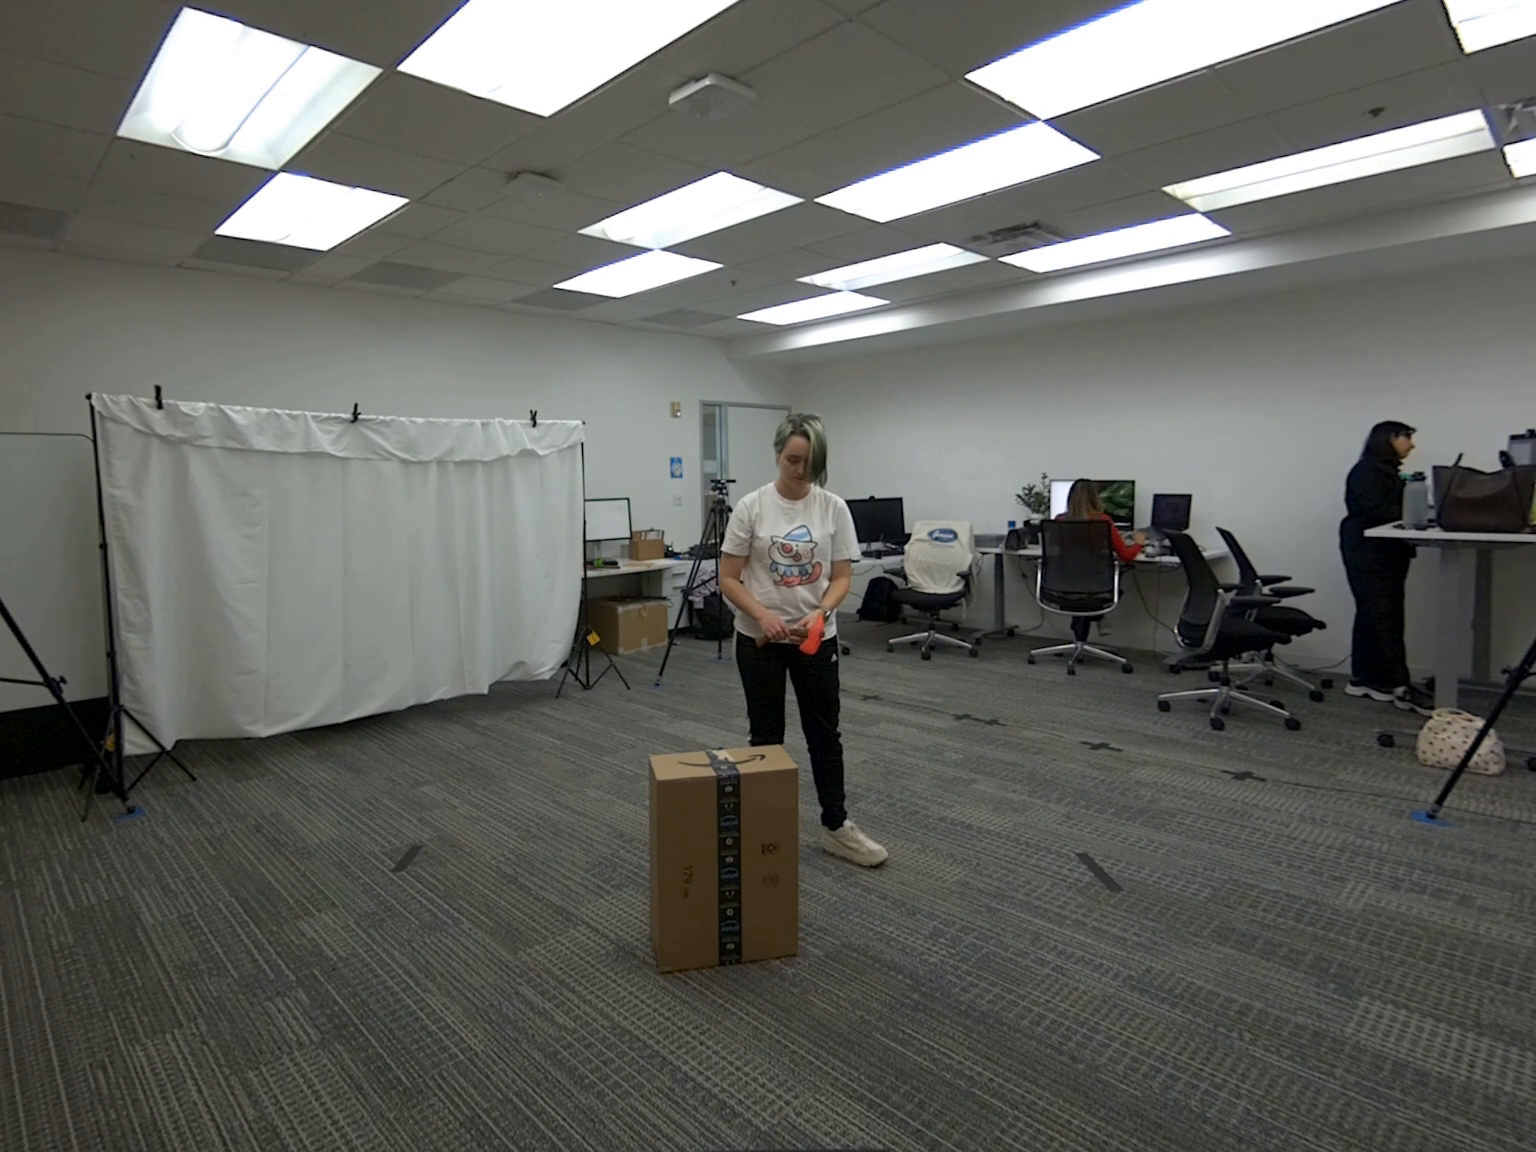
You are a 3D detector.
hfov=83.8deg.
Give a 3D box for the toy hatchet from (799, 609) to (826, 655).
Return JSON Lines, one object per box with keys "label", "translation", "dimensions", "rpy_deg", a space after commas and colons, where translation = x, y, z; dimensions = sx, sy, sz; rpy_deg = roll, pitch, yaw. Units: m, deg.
{"label": "toy hatchet", "translation": [0.079, 0.222, 2.841], "dimensions": [0.274, 0.134, 0.028], "rpy_deg": [-23, -38, 33]}
